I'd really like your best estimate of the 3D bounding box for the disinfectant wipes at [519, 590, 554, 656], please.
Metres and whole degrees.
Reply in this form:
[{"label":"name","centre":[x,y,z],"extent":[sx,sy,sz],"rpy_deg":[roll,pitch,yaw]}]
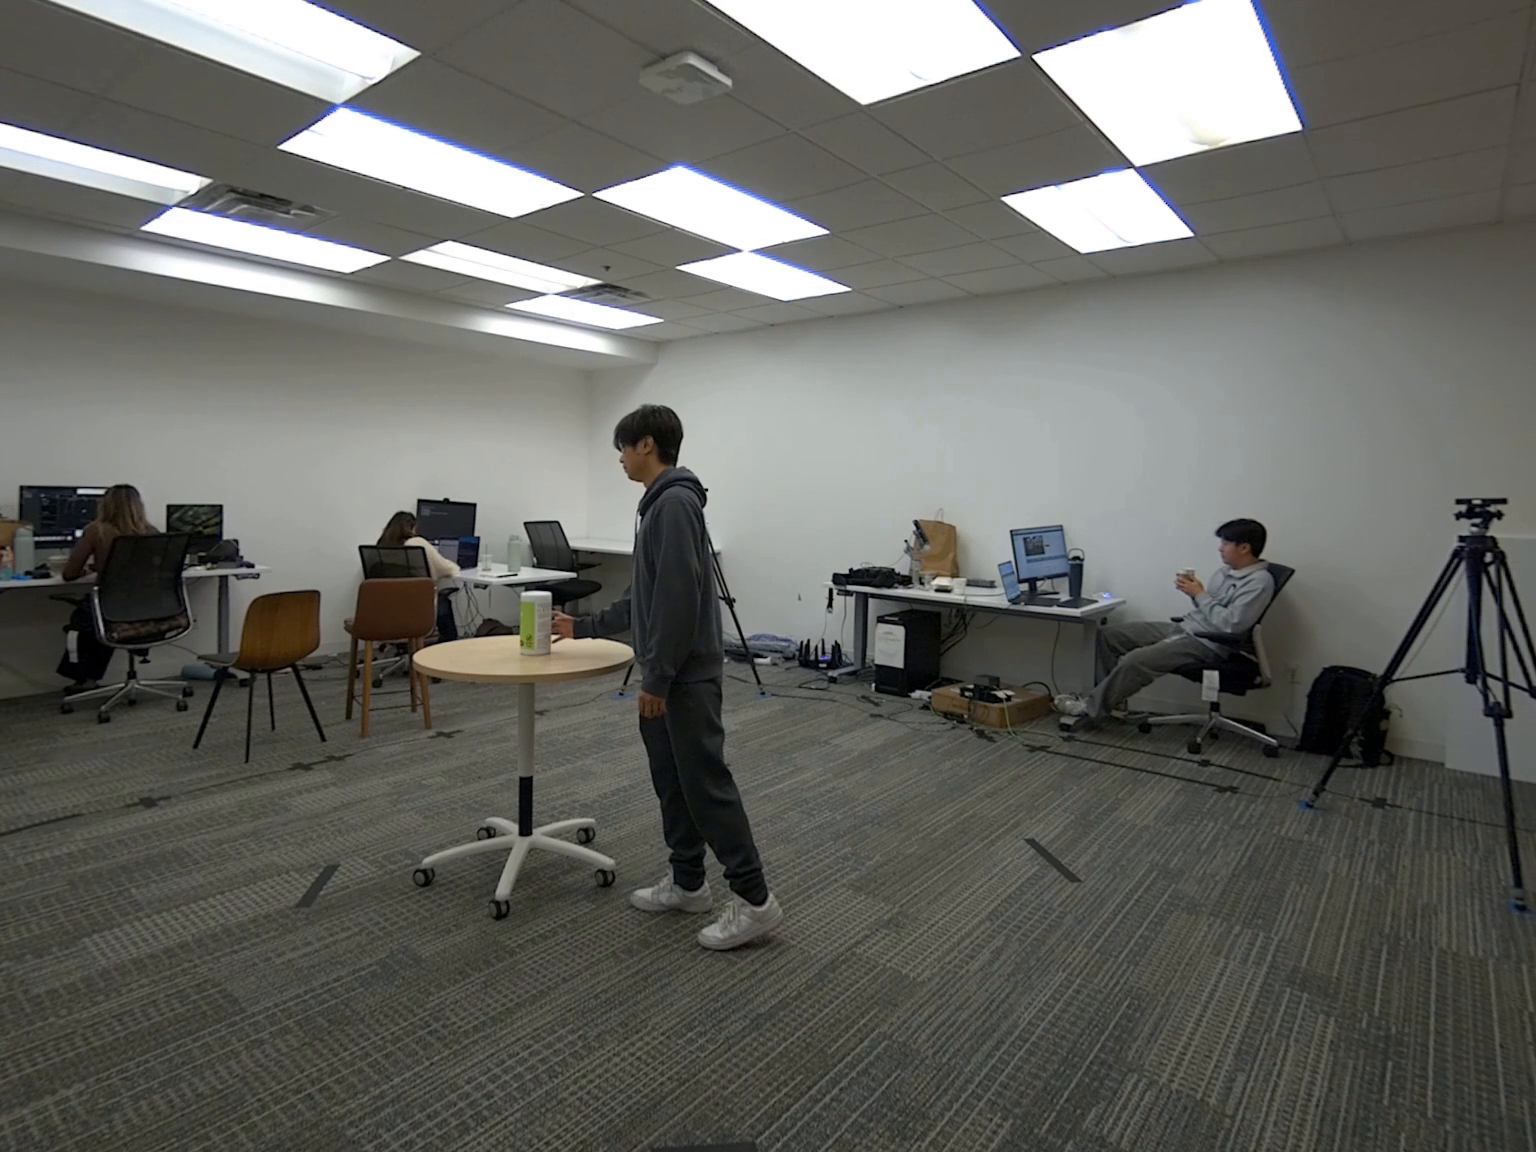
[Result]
[{"label":"disinfectant wipes","centre":[-0.836,0.165,3.024],"extent":[0.118,0.217,0.118],"rpy_deg":[1,3,-2]}]
